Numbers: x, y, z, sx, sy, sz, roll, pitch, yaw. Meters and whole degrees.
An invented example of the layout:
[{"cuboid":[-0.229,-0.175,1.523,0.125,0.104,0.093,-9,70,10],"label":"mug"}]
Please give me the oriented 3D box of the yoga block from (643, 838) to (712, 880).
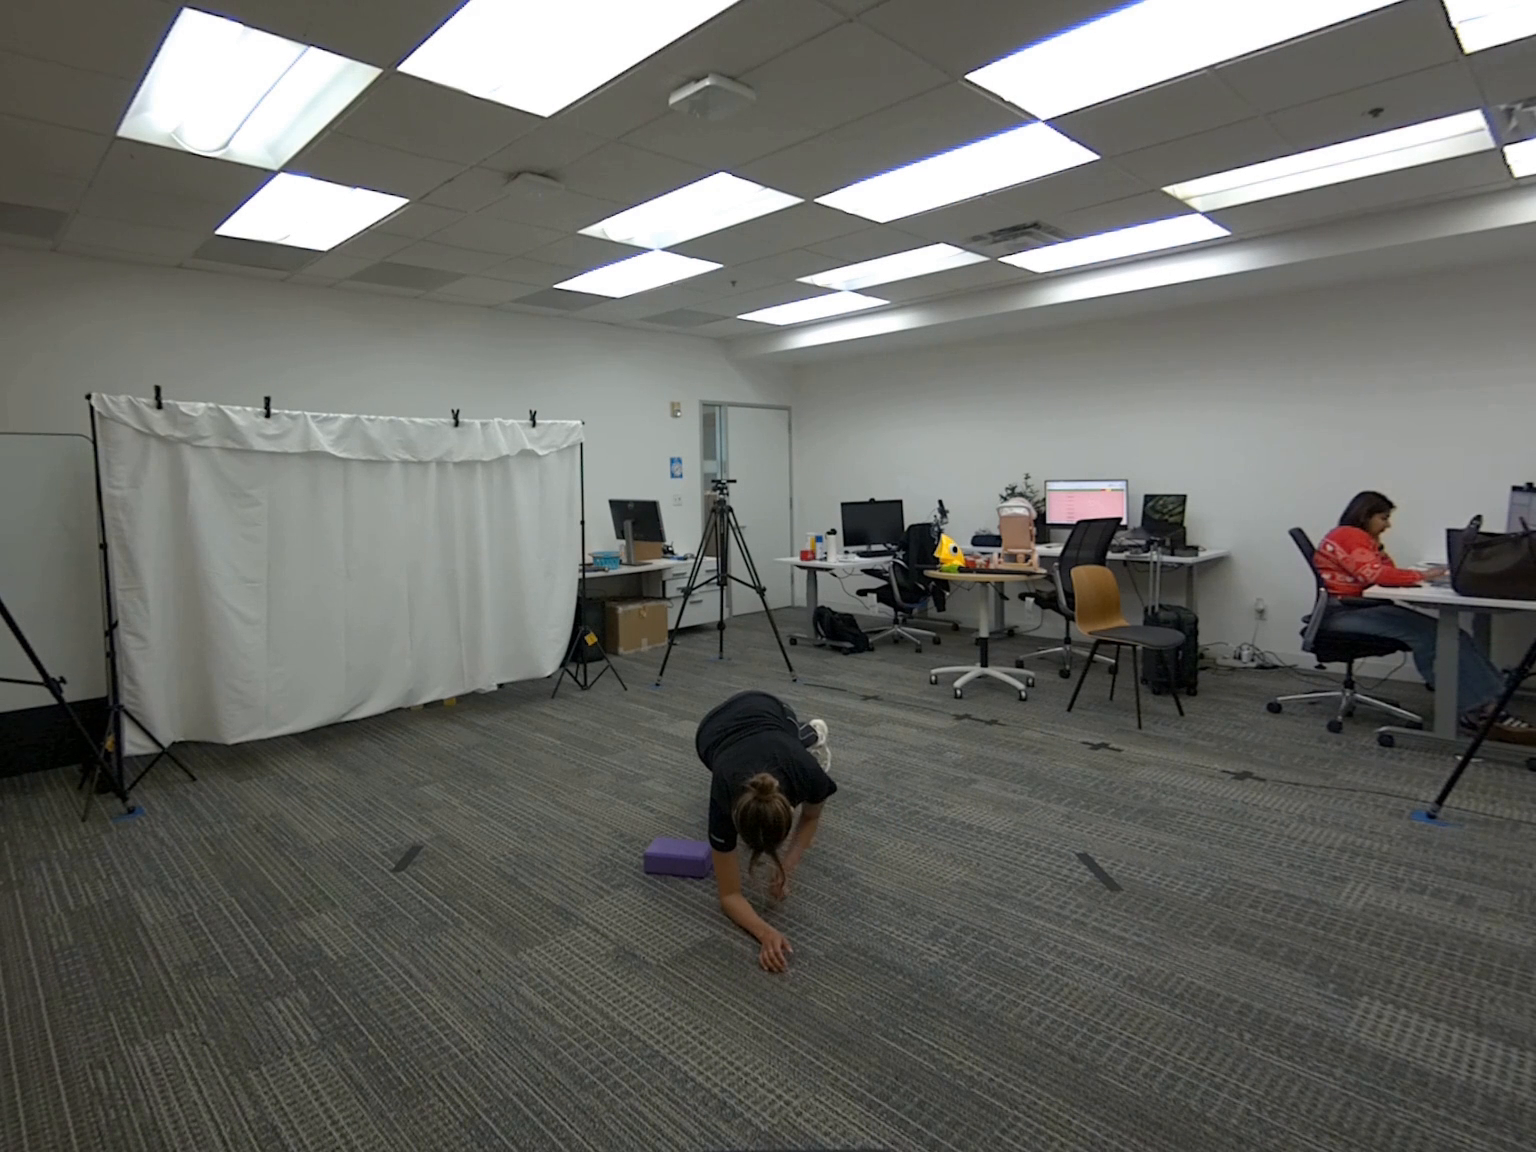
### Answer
[{"cuboid":[-0.315,1.011,3.082,0.232,0.076,0.147,0,4,12],"label":"yoga block"}]
